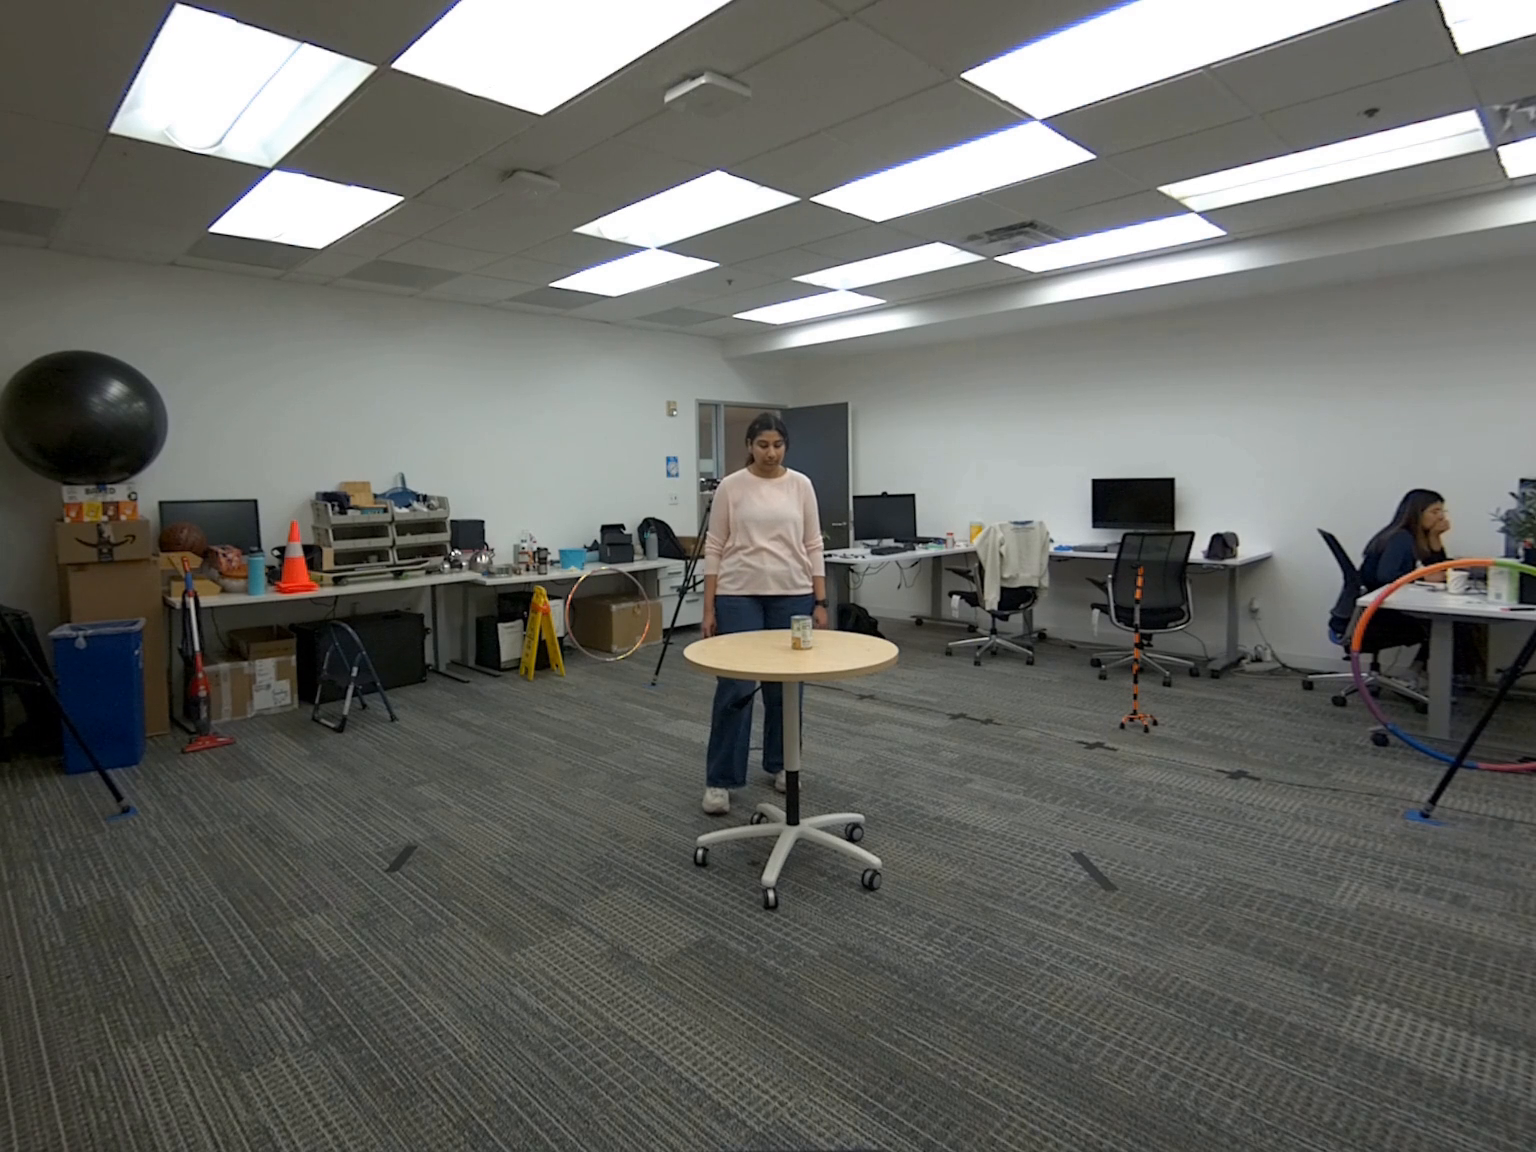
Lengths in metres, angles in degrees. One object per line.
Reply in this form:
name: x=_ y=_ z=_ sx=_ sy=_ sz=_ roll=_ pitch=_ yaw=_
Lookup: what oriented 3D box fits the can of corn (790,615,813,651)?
can of corn: x=0.115 y=0.204 z=3.076 sx=0.074 sy=0.111 sz=0.074 roll=-3 pitch=4 yaw=-1
